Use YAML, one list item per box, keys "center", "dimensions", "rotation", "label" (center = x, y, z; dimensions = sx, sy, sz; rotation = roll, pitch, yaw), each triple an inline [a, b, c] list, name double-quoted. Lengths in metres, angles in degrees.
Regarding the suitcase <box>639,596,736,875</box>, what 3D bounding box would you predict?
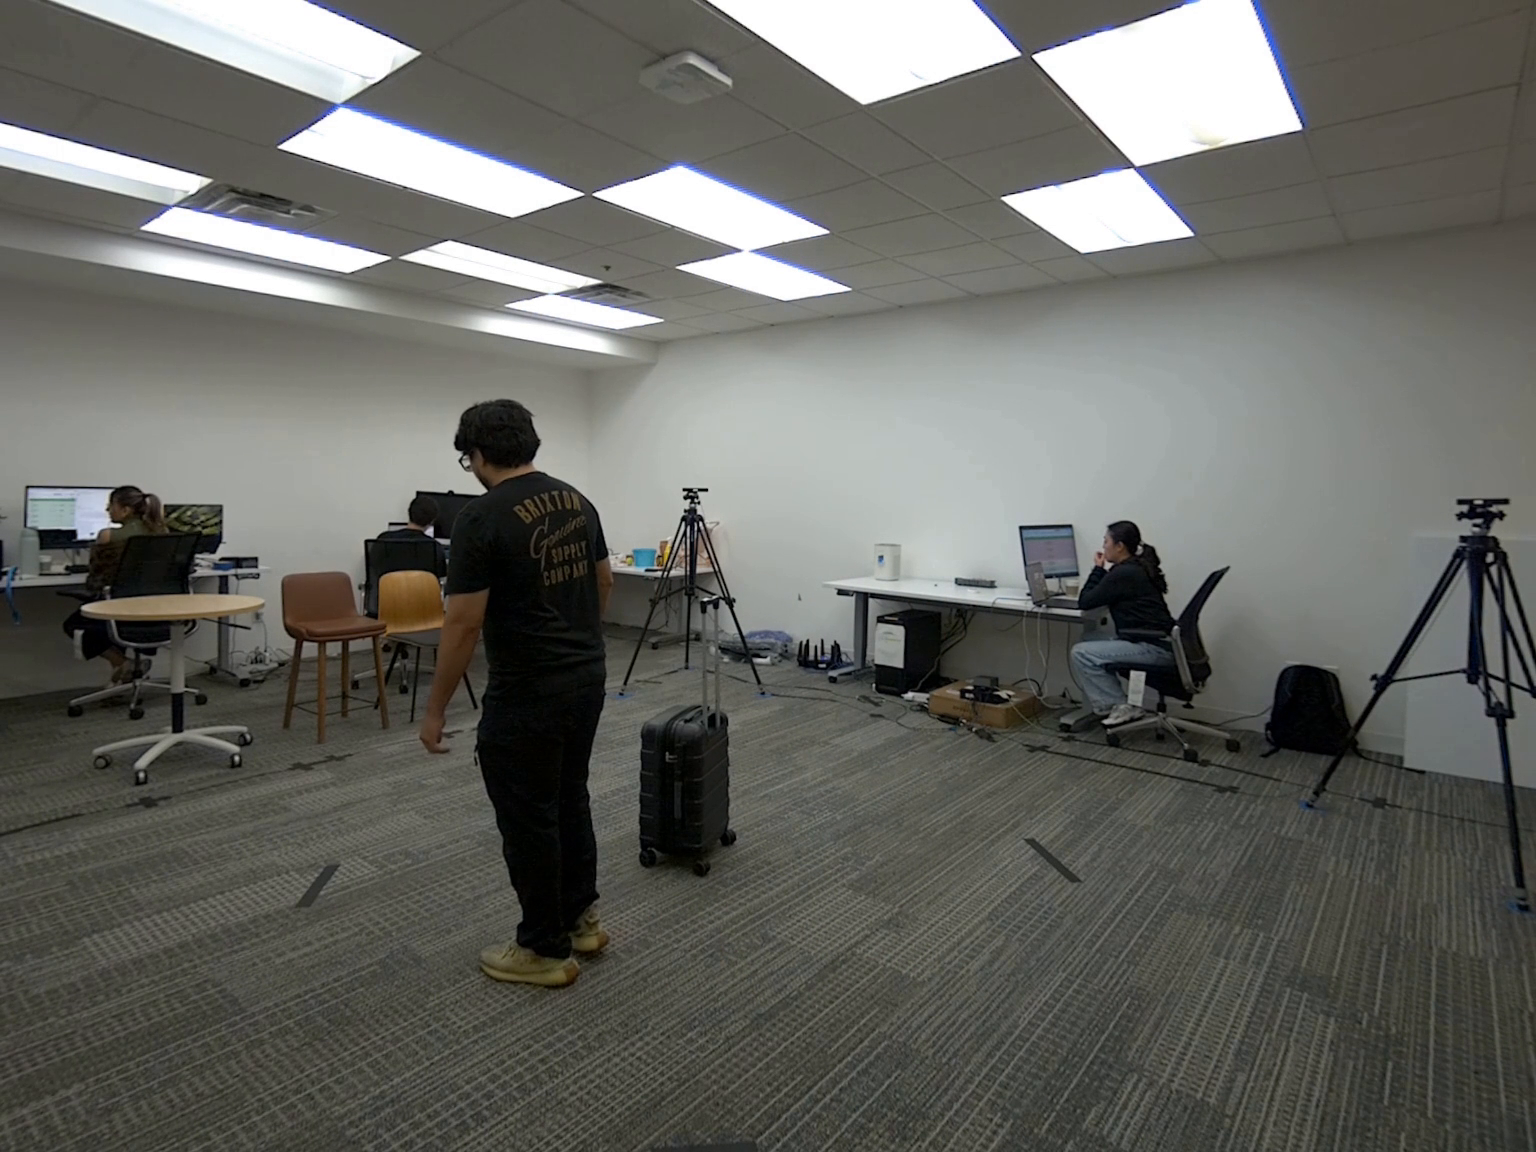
- center: [-0.329, 0.581, 3.230]
  dimensions: [0.262, 0.977, 0.377]
  rotation: [-2, 2, 17]
  label: "suitcase"
